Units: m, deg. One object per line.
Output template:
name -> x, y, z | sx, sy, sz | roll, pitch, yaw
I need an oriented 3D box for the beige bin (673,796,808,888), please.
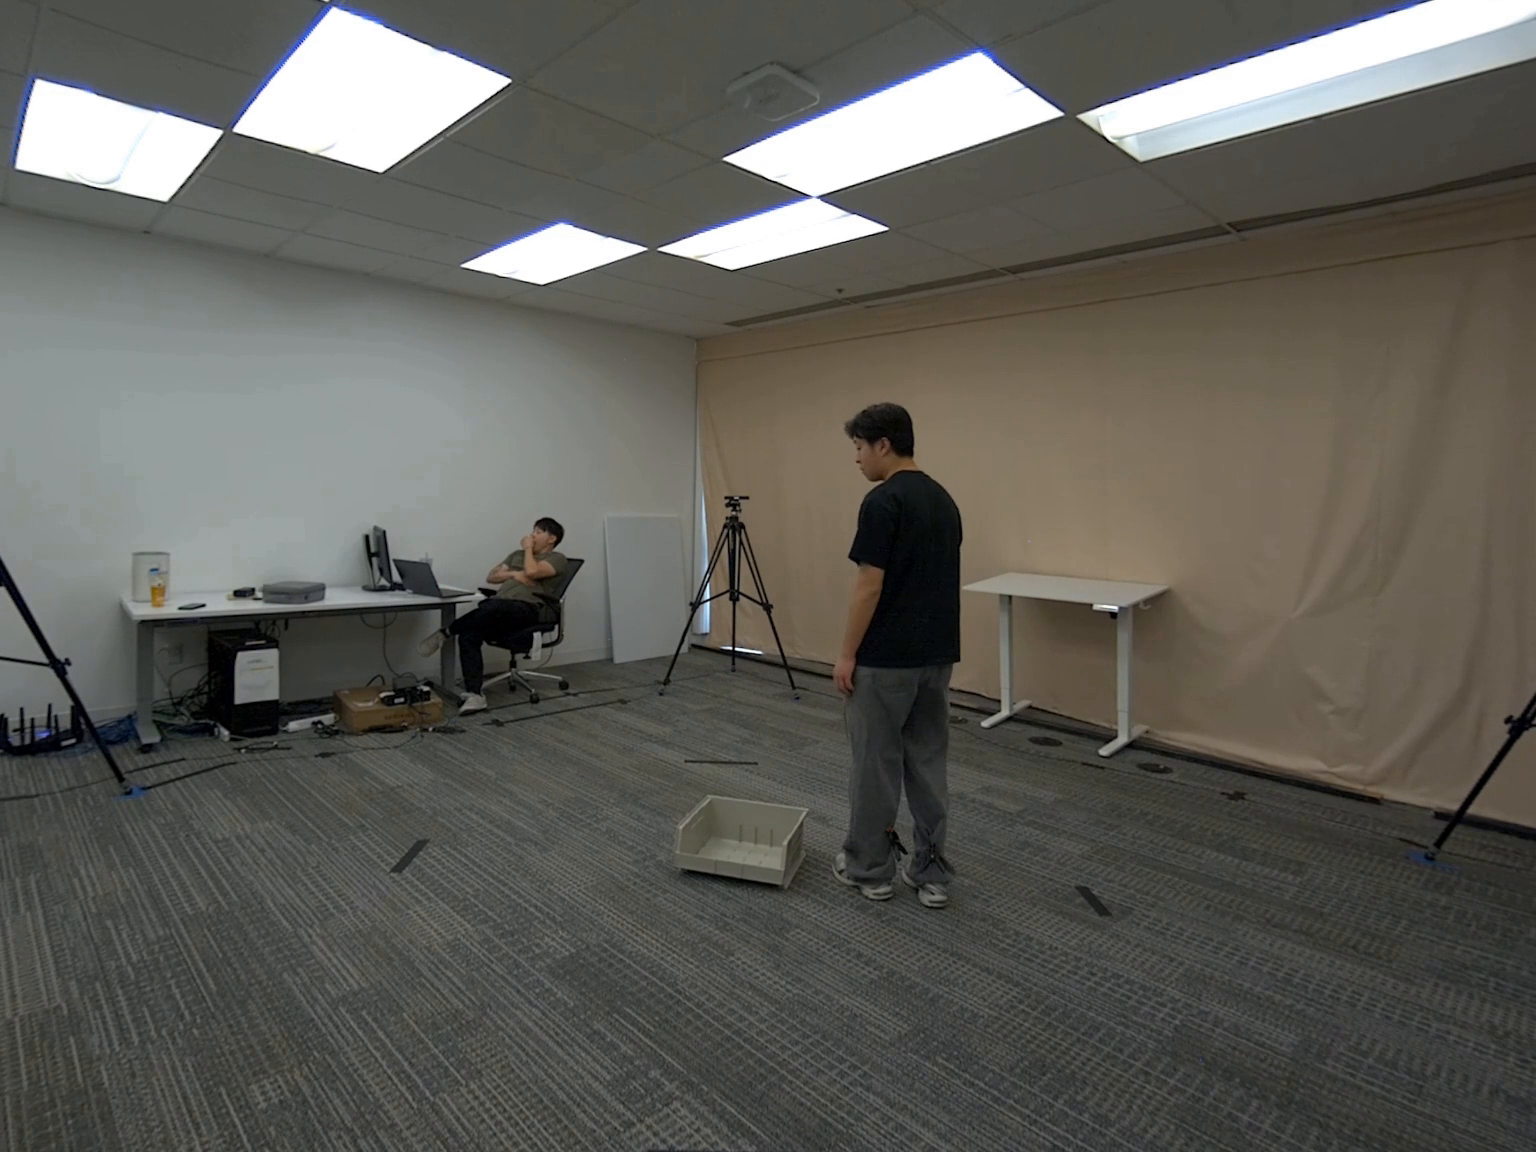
beige bin -> -0.099, 1.008, 3.188 | 0.428, 0.188, 0.373 | 3, 4, 16
